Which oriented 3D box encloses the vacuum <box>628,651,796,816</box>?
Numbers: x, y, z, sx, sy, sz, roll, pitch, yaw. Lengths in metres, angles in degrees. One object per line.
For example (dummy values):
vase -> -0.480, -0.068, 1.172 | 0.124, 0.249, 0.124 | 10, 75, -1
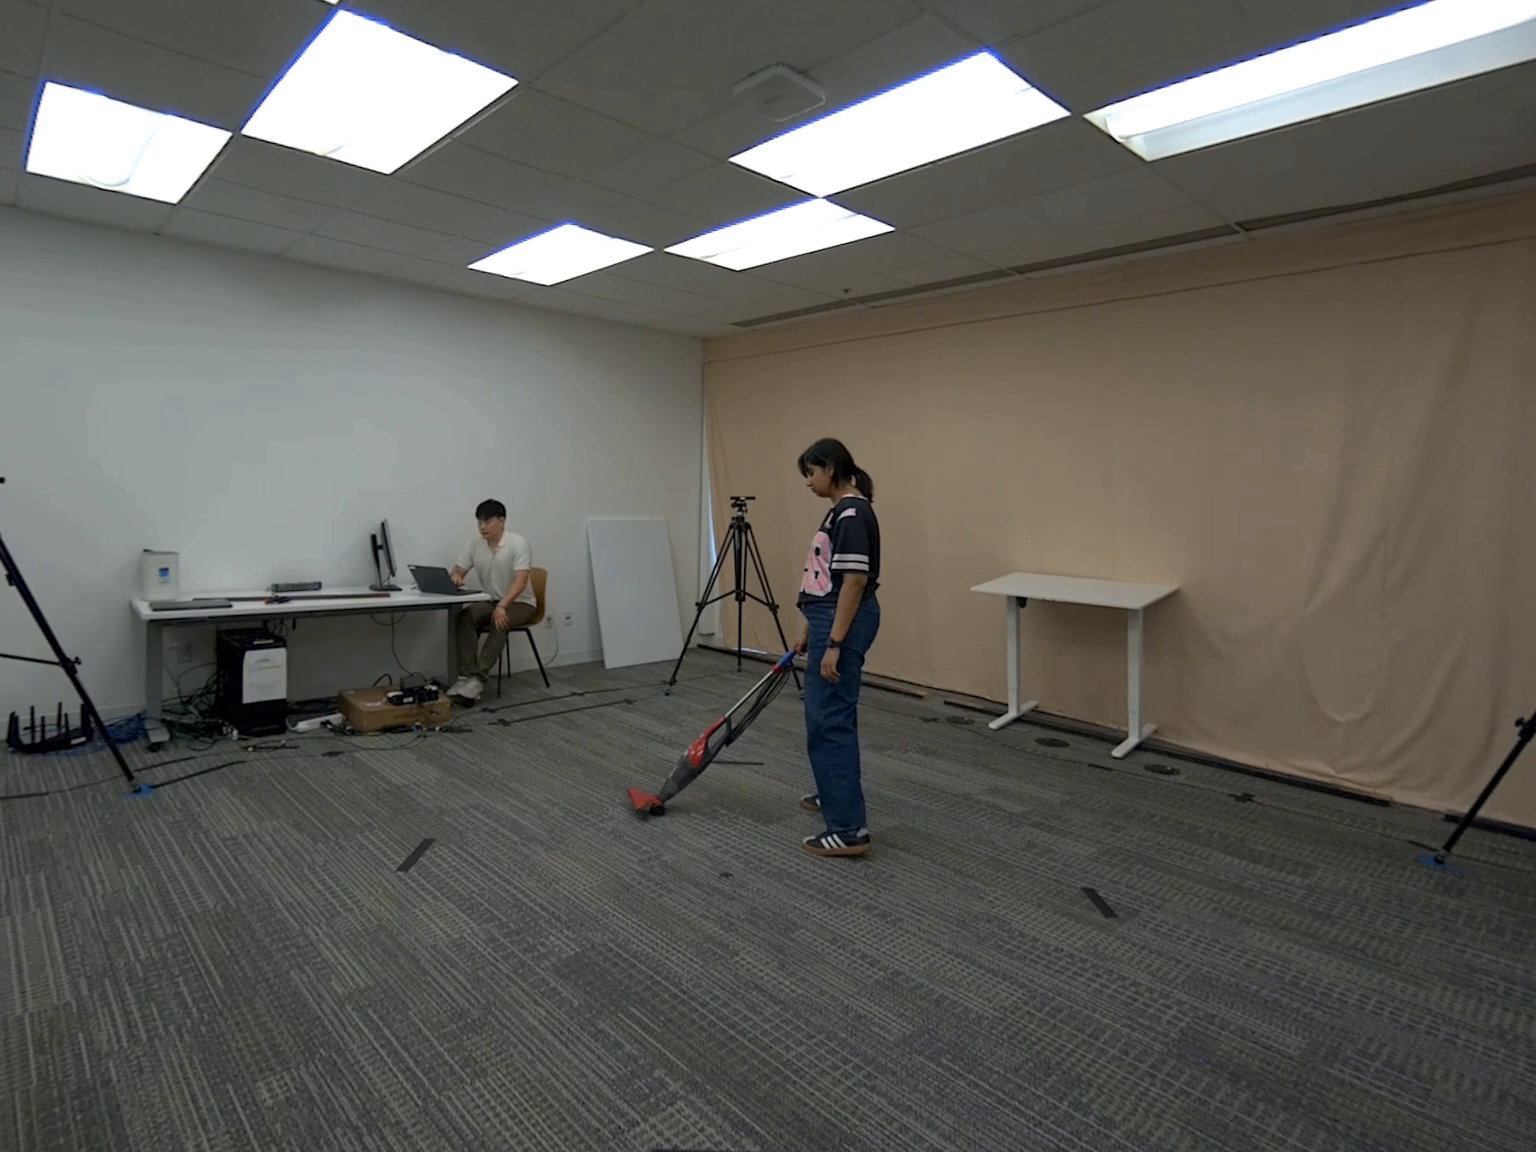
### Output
vacuum -> -0.169, 0.664, 3.795 | 1.048, 0.141, 0.257 | -42, 17, -10
